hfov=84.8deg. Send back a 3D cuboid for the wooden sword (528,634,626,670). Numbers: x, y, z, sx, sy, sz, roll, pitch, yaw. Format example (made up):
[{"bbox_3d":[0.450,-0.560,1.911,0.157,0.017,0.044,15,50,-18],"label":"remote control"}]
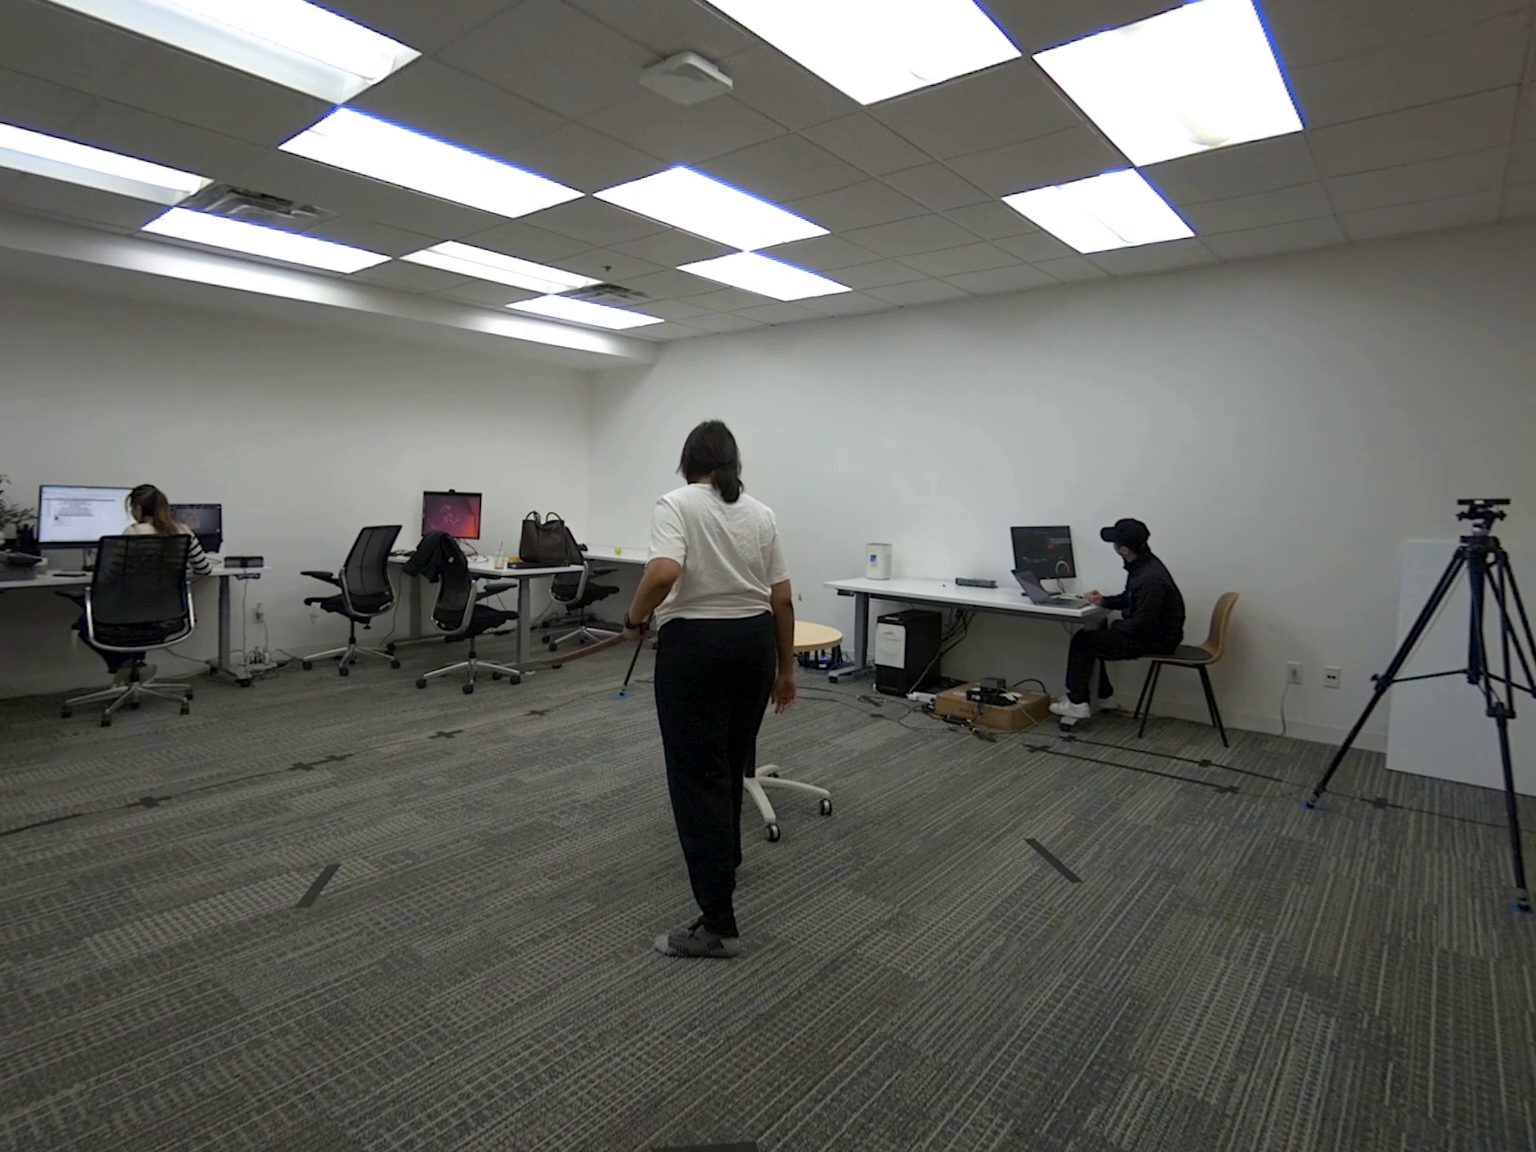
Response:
[{"bbox_3d":[-0.717,0.267,3.129,0.050,0.024,1.041,1,-11,-32],"label":"wooden sword"}]
